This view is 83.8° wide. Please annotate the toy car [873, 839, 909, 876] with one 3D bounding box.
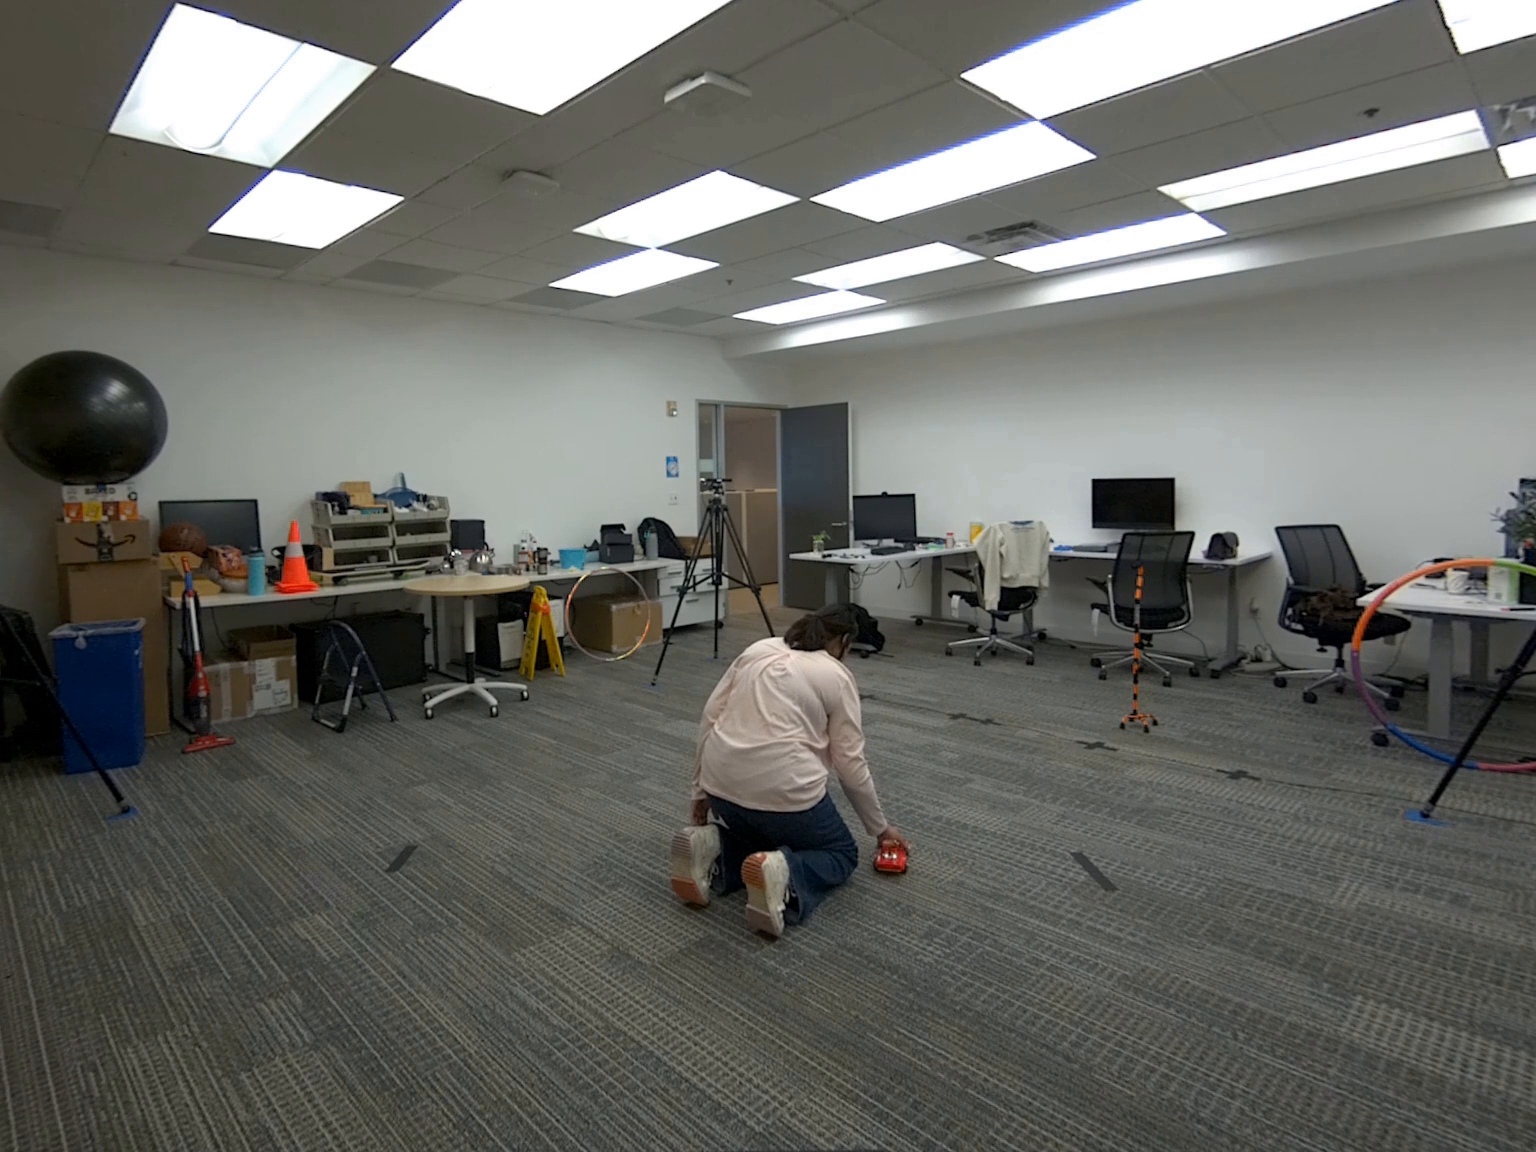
[{"bbox_3d":[0.446,1.004,3.075,0.132,0.083,0.250,1,-4,13],"label":"toy car"}]
